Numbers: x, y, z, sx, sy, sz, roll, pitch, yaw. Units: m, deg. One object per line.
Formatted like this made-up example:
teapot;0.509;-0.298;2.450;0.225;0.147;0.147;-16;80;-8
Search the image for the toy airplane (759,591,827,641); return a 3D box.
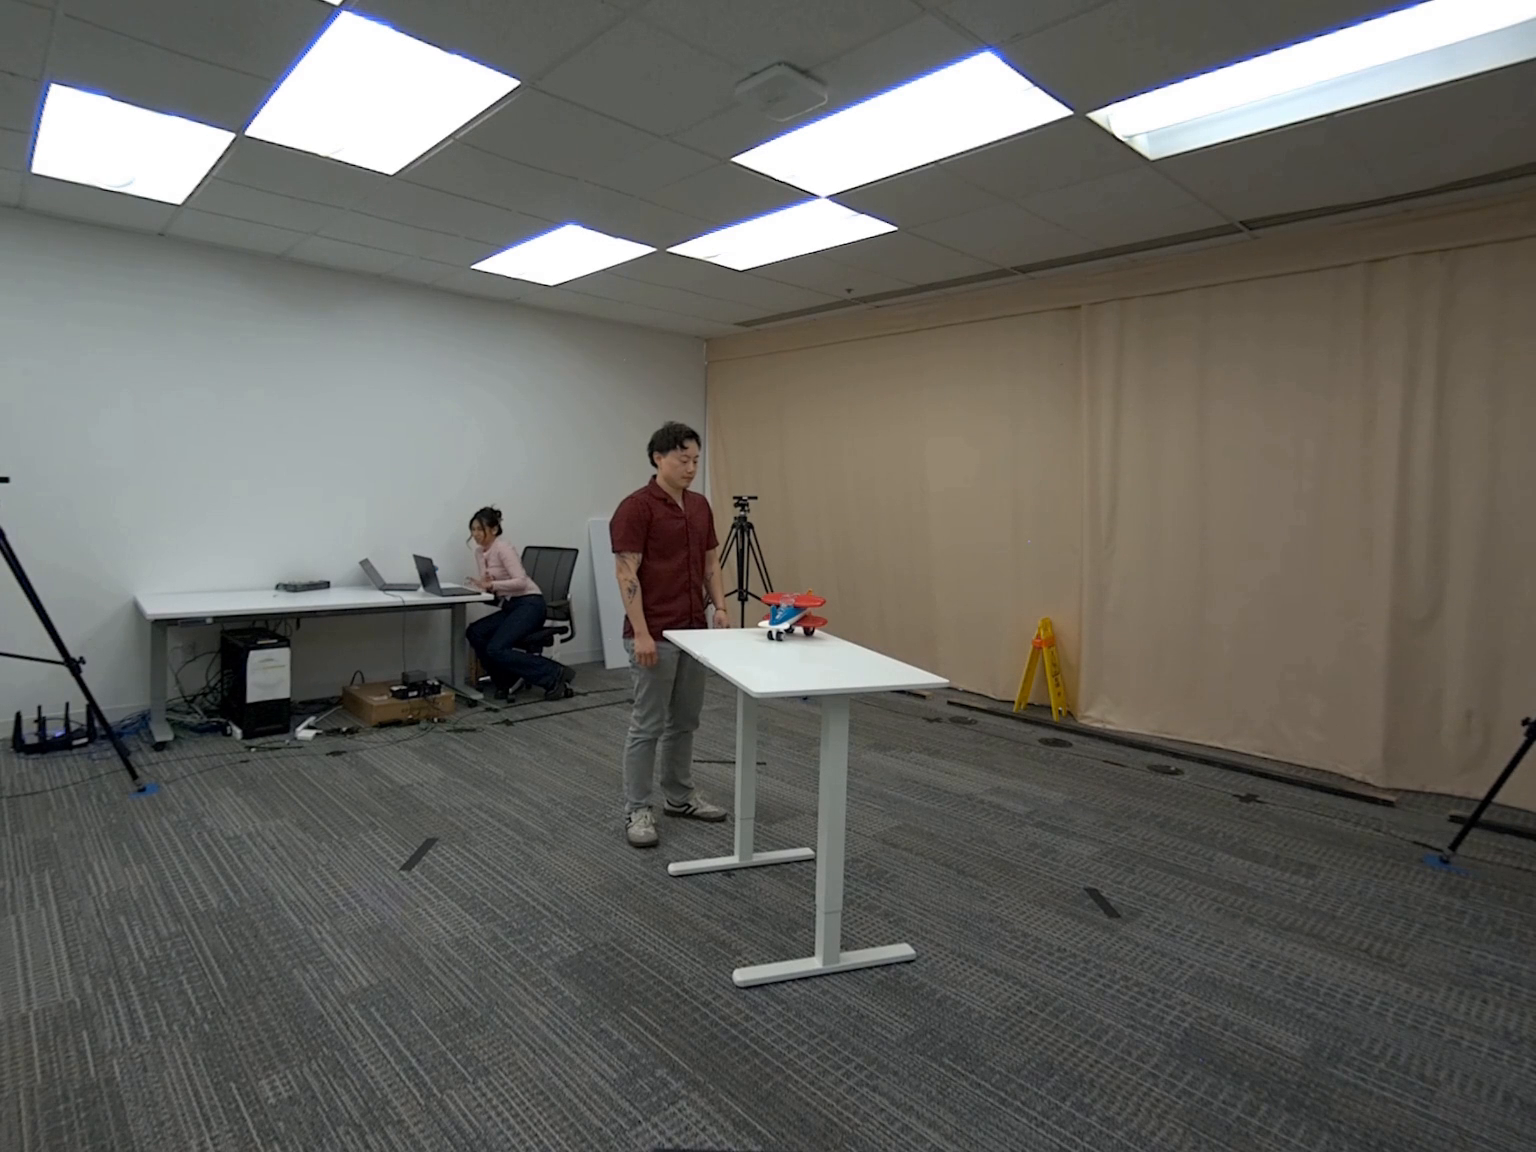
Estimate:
toy airplane;0.087;0.151;3.084;0.252;0.156;0.259;2;4;4
